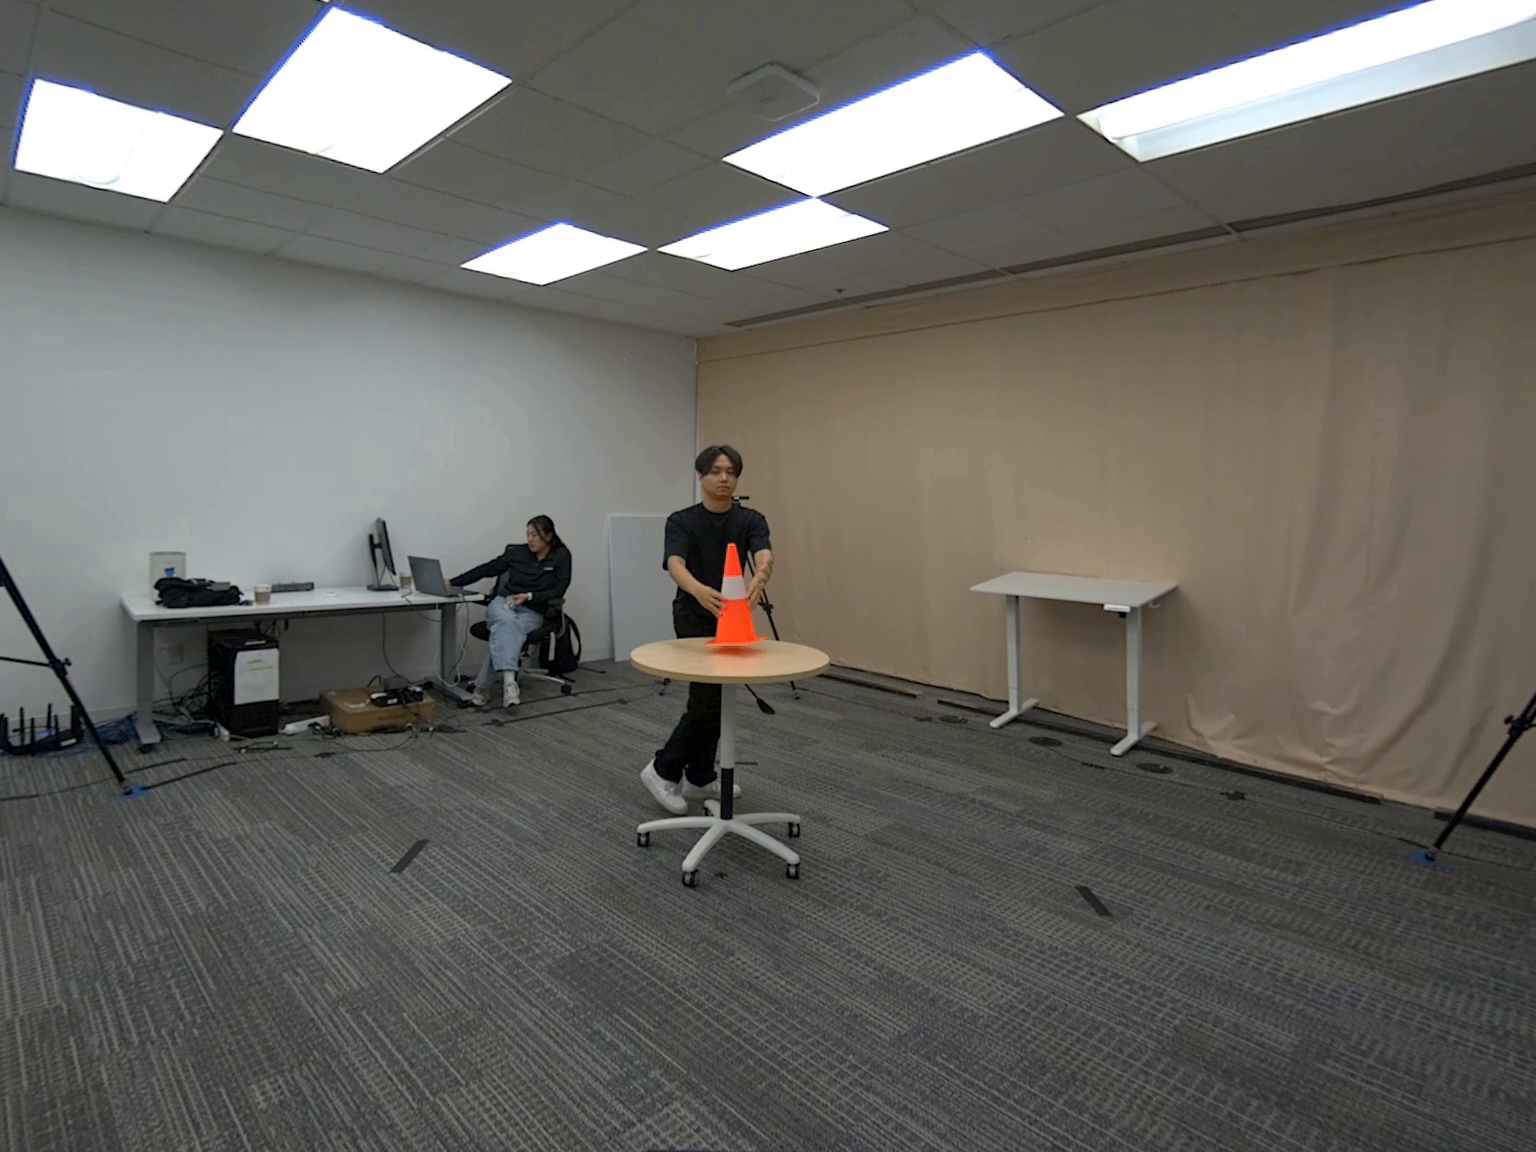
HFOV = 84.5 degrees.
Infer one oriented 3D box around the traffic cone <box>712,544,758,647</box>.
[{"bbox_3d":[-0.141,0.064,3.302,0.209,0.382,0.199,1,6,33],"label":"traffic cone"}]
